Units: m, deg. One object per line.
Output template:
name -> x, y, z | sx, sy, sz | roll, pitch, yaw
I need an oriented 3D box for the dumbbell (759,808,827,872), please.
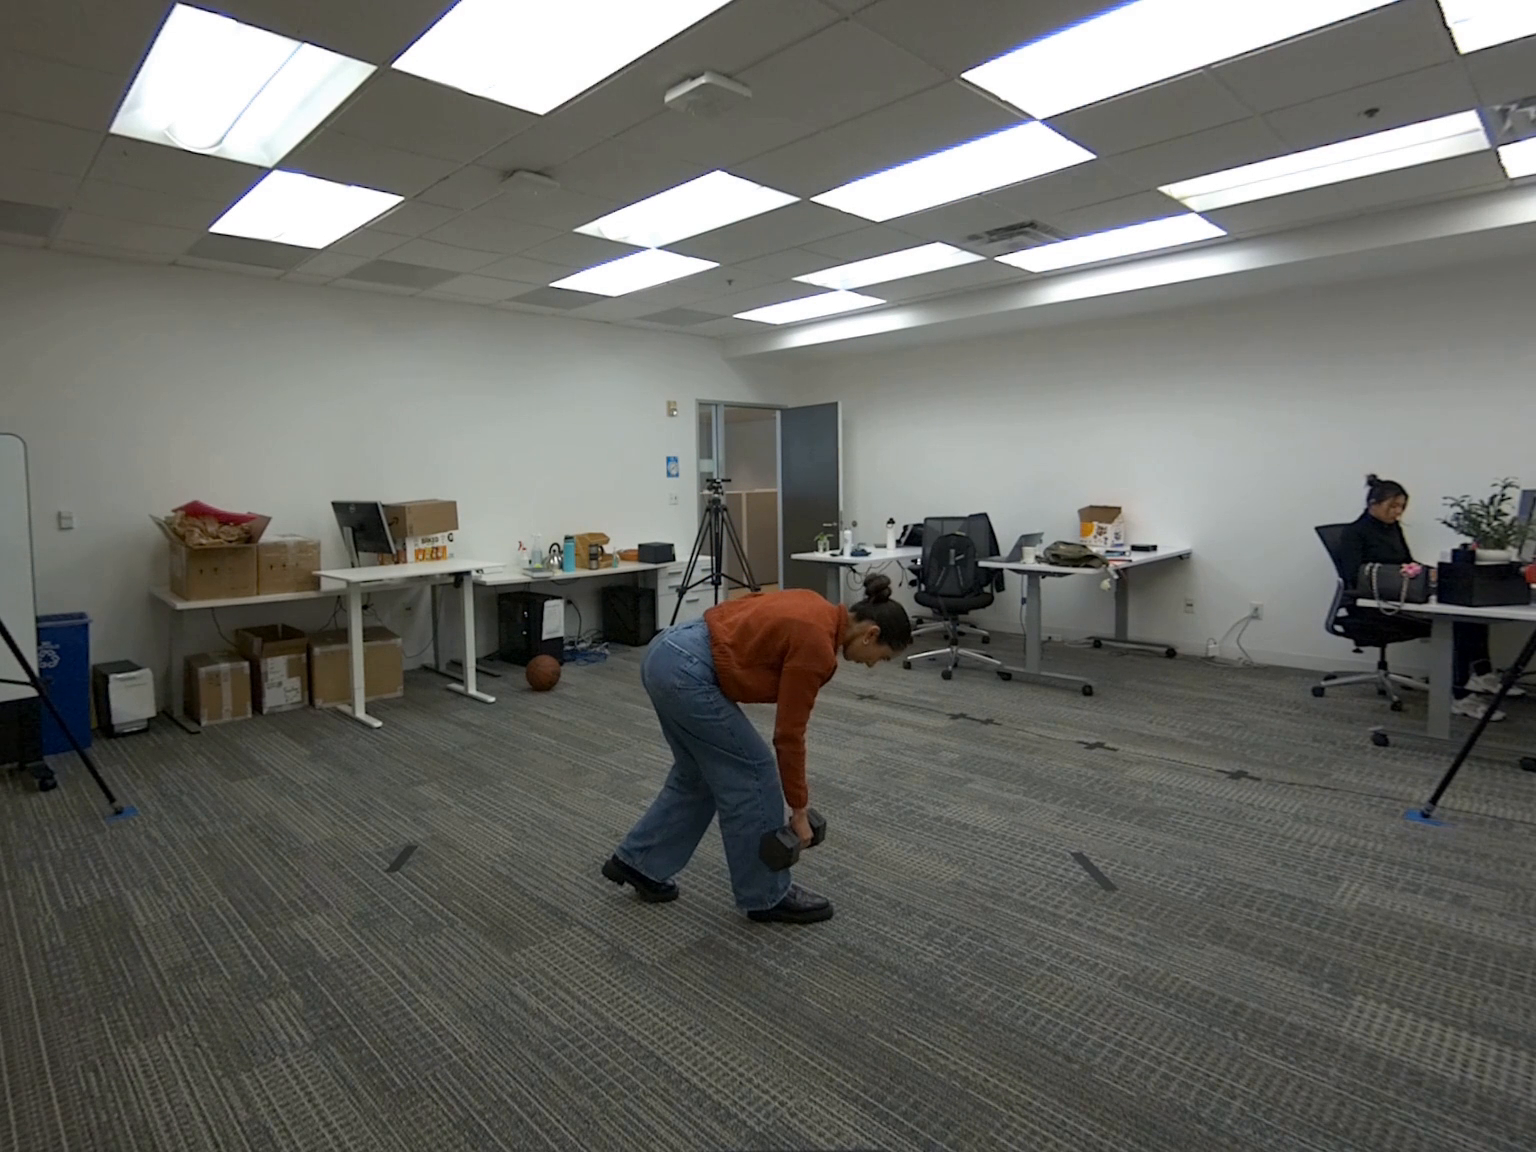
dumbbell -> 0.076, 0.811, 2.633 | 0.111, 0.123, 0.287 | 5, 3, 25
